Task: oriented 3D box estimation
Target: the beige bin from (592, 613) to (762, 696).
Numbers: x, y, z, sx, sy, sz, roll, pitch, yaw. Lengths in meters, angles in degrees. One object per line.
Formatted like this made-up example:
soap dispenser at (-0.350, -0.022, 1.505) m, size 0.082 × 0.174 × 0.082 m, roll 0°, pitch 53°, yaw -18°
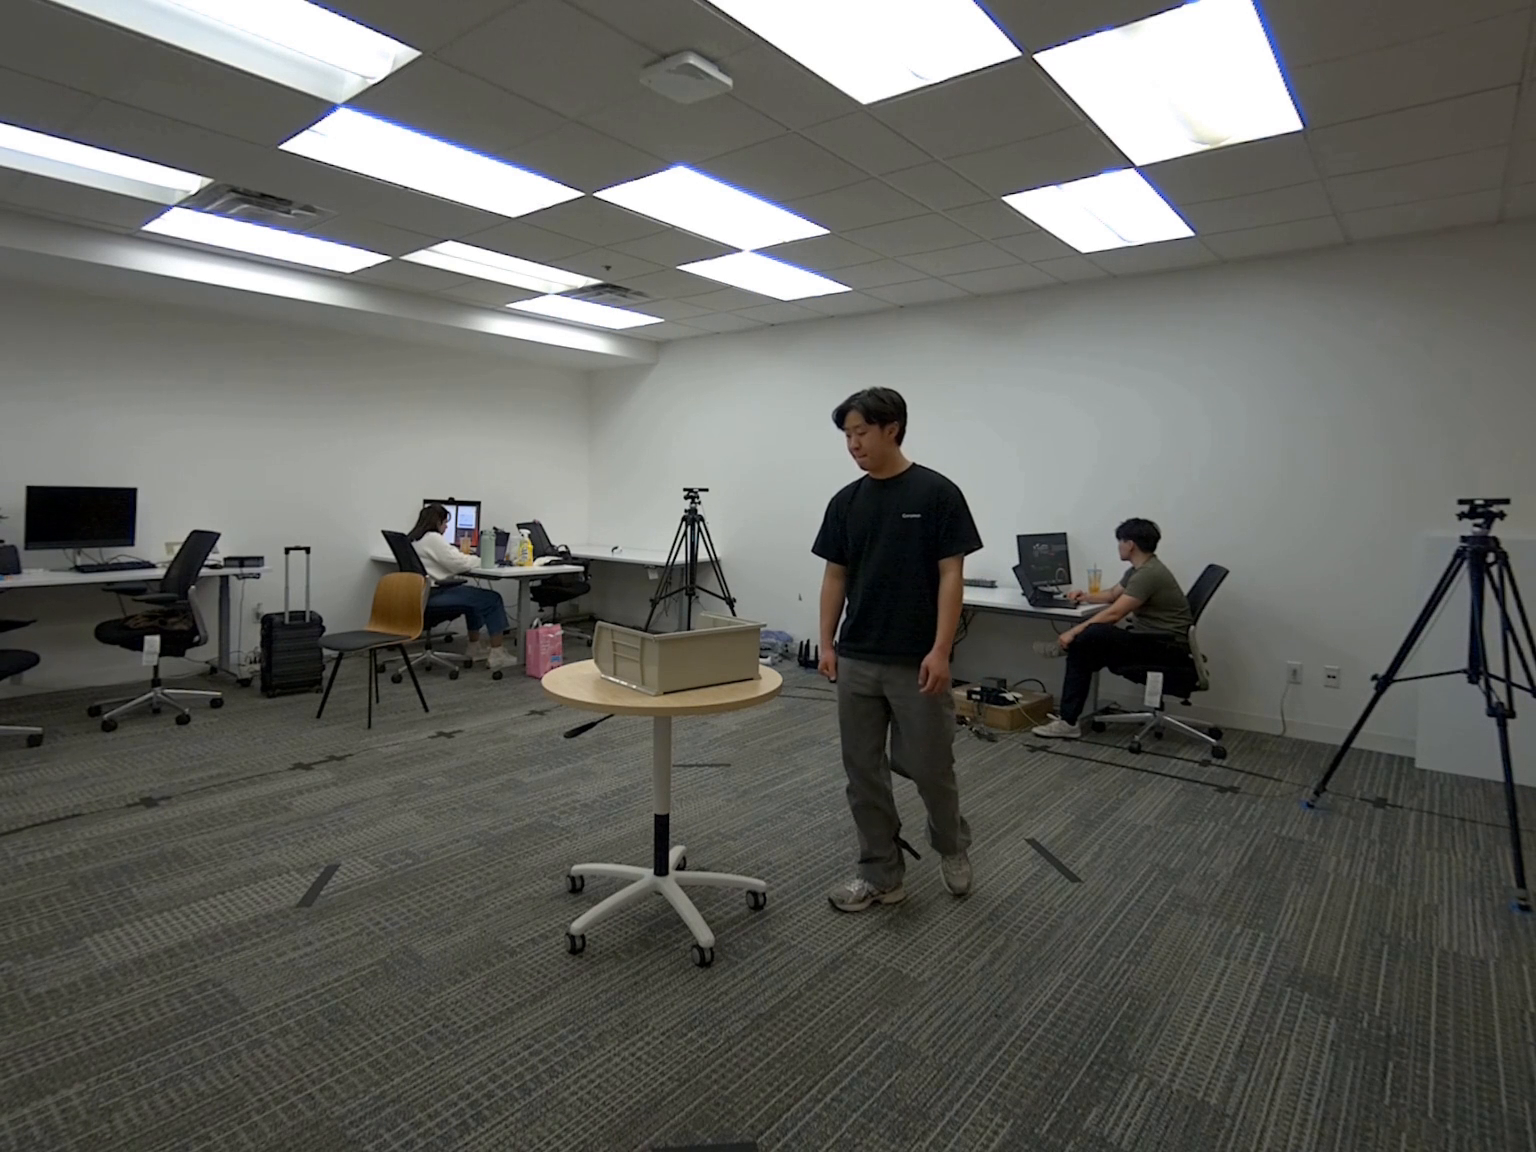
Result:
beige bin at (-0.299, 0.235, 2.718) m, size 0.410 × 0.188 × 0.390 m, roll -3°, pitch 7°, yaw -39°
